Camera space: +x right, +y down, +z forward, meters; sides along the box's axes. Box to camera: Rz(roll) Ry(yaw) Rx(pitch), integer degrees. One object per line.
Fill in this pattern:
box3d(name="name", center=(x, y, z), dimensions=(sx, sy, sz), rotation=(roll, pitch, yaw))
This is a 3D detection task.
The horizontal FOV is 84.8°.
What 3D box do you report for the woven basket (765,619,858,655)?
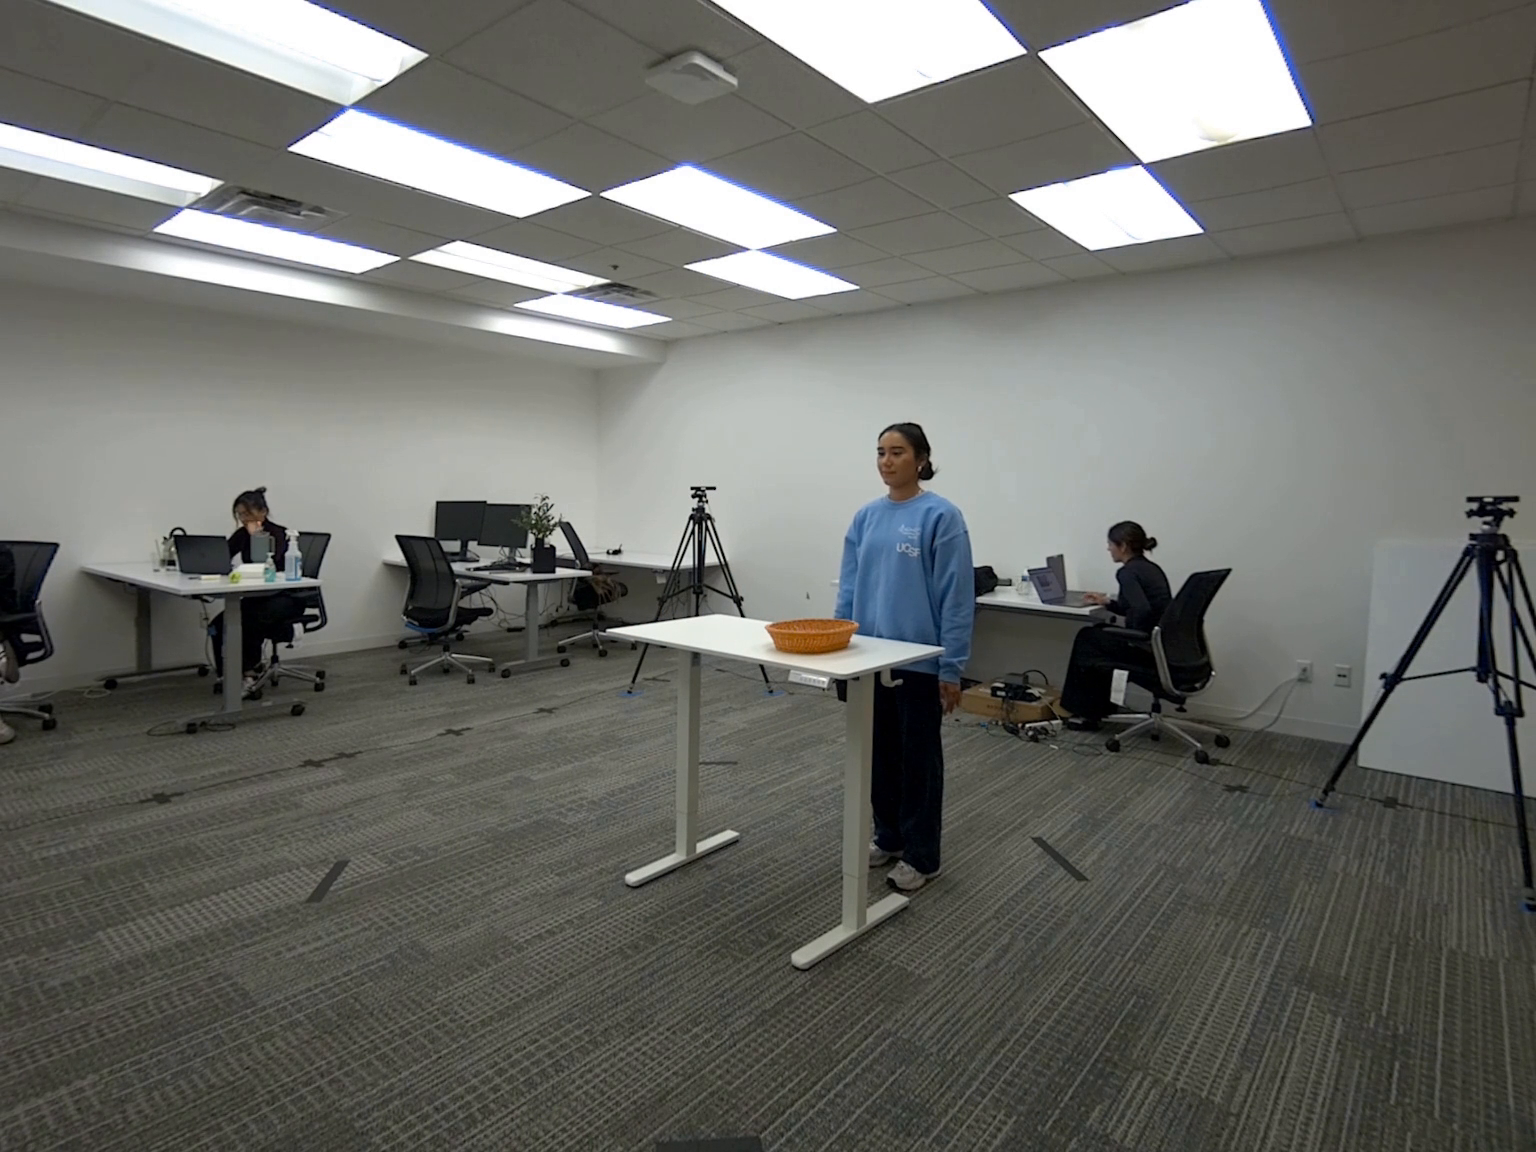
box3d(name="woven basket", center=(0.130, 0.199, 2.727), dimensions=(0.261, 0.073, 0.340), rotation=(3, 5, 40))
